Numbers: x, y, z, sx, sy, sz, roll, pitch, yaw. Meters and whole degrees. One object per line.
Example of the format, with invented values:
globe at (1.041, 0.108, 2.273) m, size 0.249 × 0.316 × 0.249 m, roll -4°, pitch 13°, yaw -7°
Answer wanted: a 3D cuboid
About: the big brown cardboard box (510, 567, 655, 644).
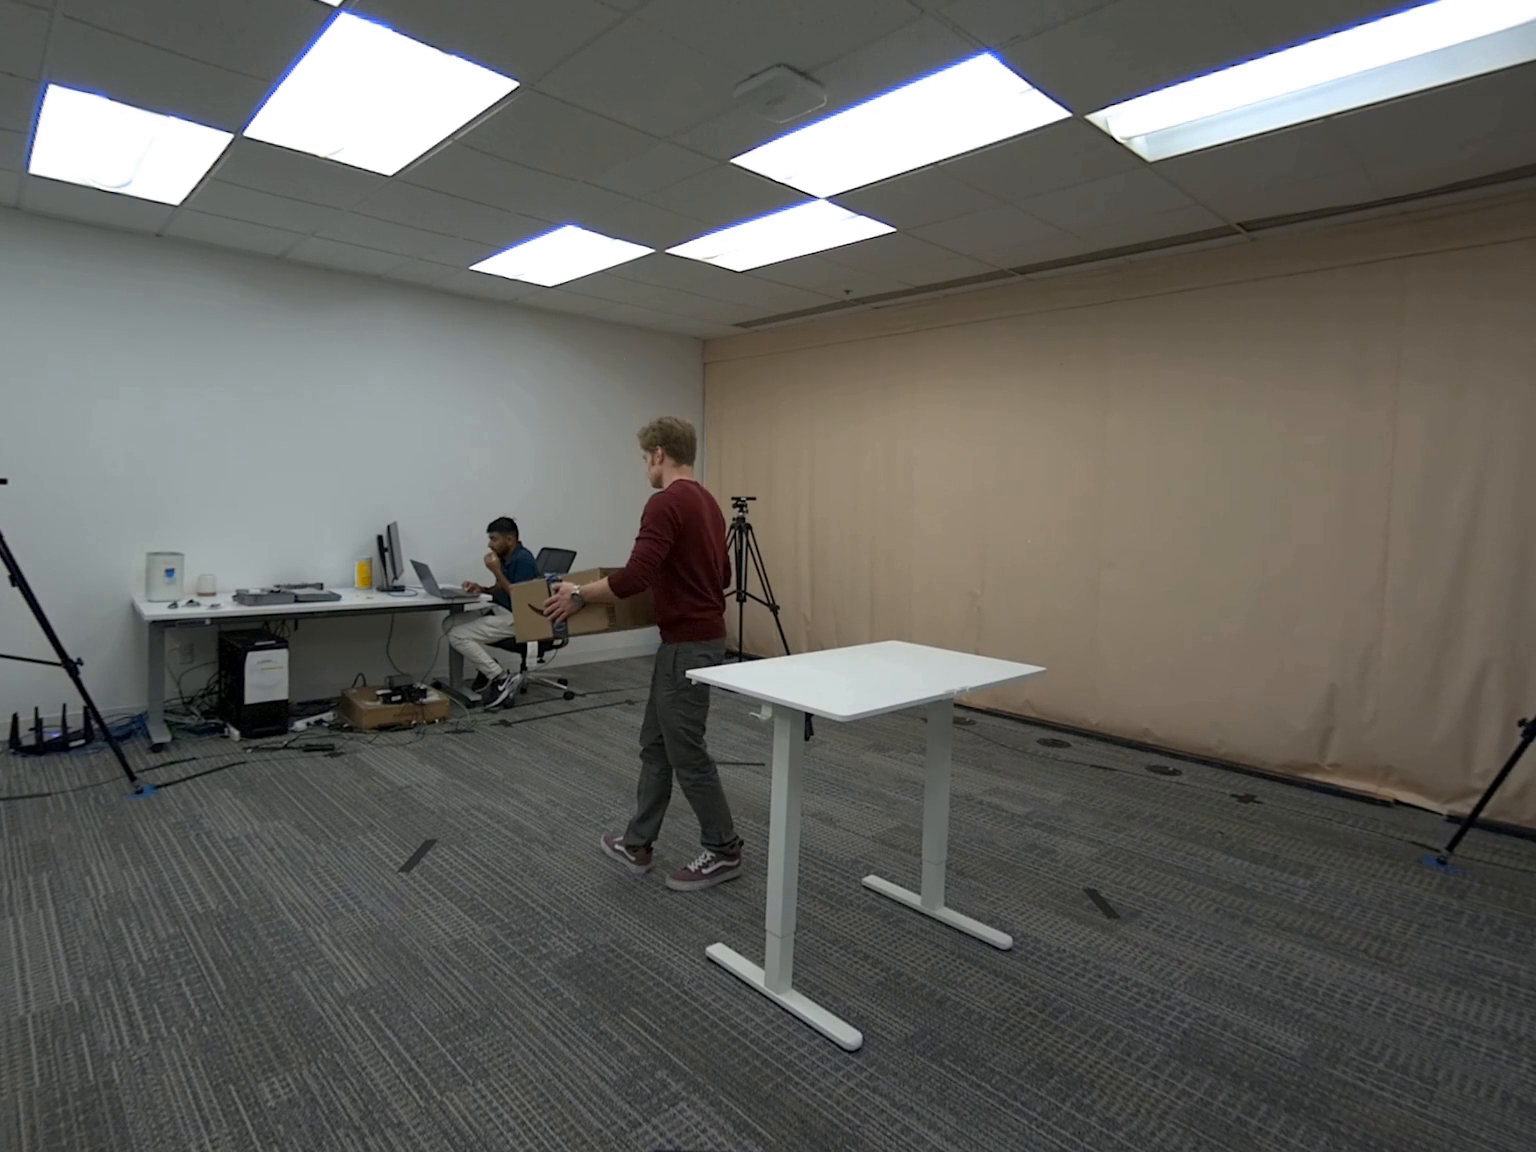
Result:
big brown cardboard box at (-0.631, 0.104, 3.215) m, size 0.424 × 0.234 × 0.577 m, roll -9°, pitch -5°, yaw 26°
